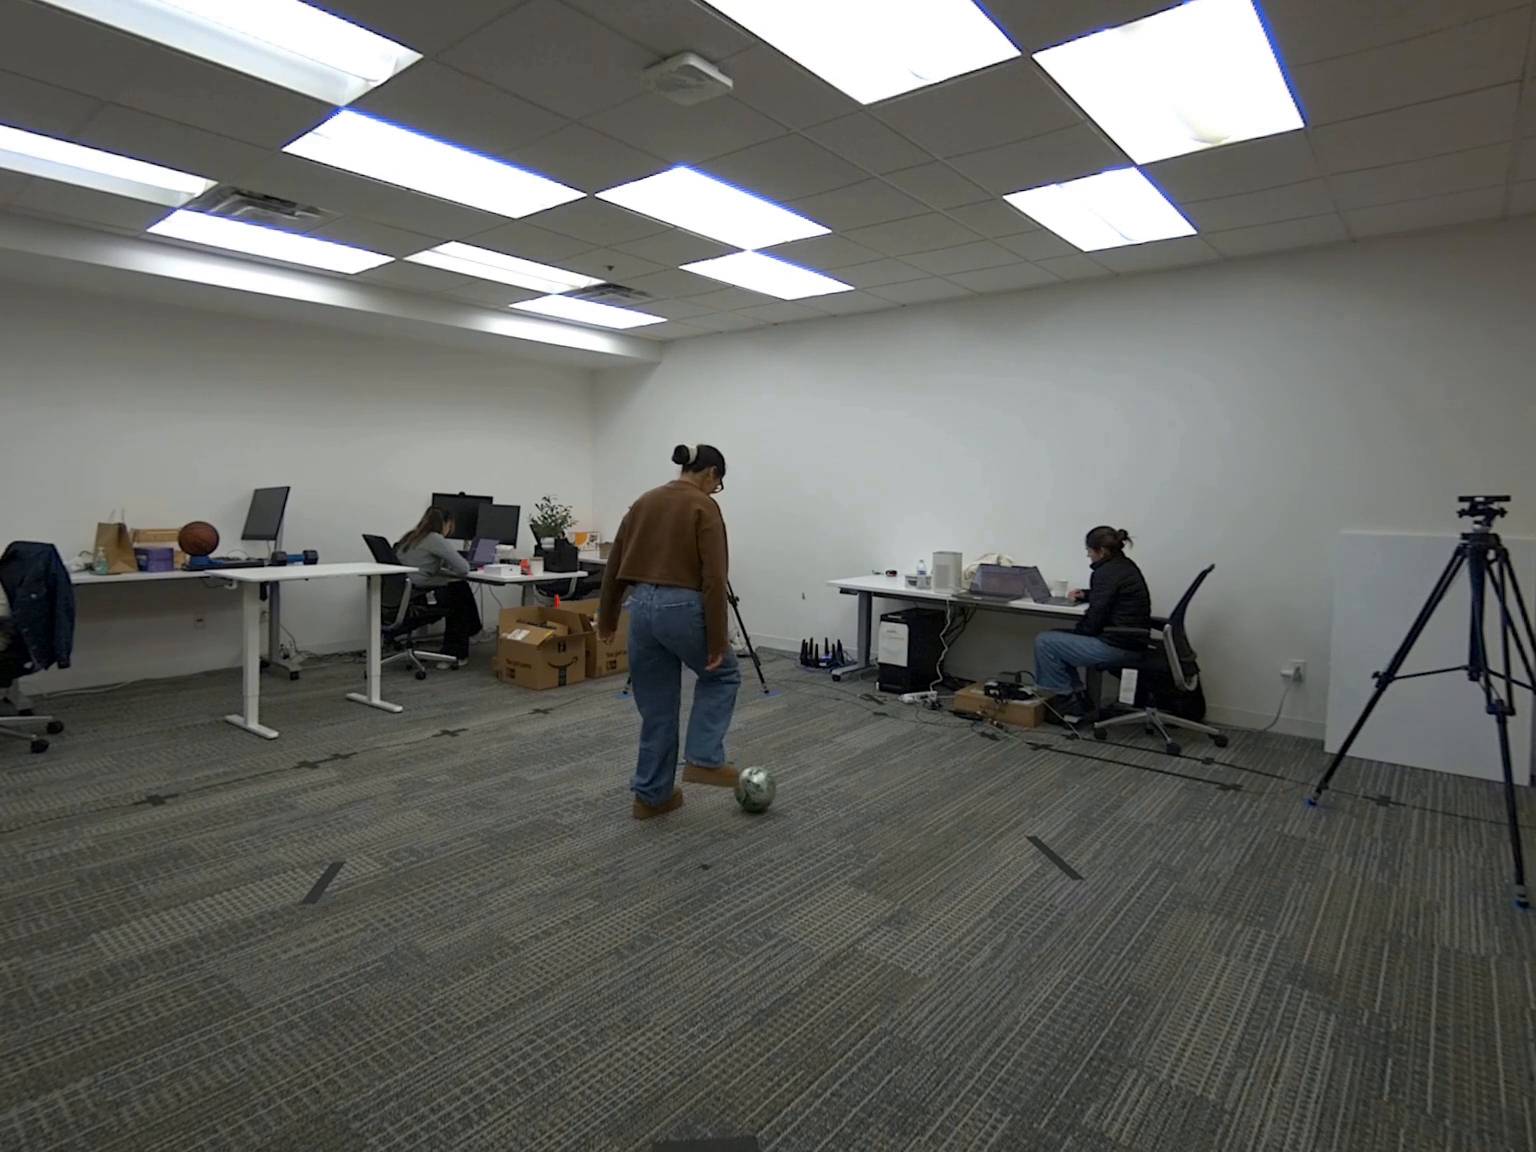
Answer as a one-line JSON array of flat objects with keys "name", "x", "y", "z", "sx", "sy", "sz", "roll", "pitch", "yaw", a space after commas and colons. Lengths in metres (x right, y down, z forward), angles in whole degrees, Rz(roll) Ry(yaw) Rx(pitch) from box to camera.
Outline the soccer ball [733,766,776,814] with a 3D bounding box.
[{"name": "soccer ball", "x": -0.068, "y": 0.918, "z": 3.679, "sx": 0.187, "sy": 0.187, "sz": 0.188, "roll": 1, "pitch": 4, "yaw": -2}]
